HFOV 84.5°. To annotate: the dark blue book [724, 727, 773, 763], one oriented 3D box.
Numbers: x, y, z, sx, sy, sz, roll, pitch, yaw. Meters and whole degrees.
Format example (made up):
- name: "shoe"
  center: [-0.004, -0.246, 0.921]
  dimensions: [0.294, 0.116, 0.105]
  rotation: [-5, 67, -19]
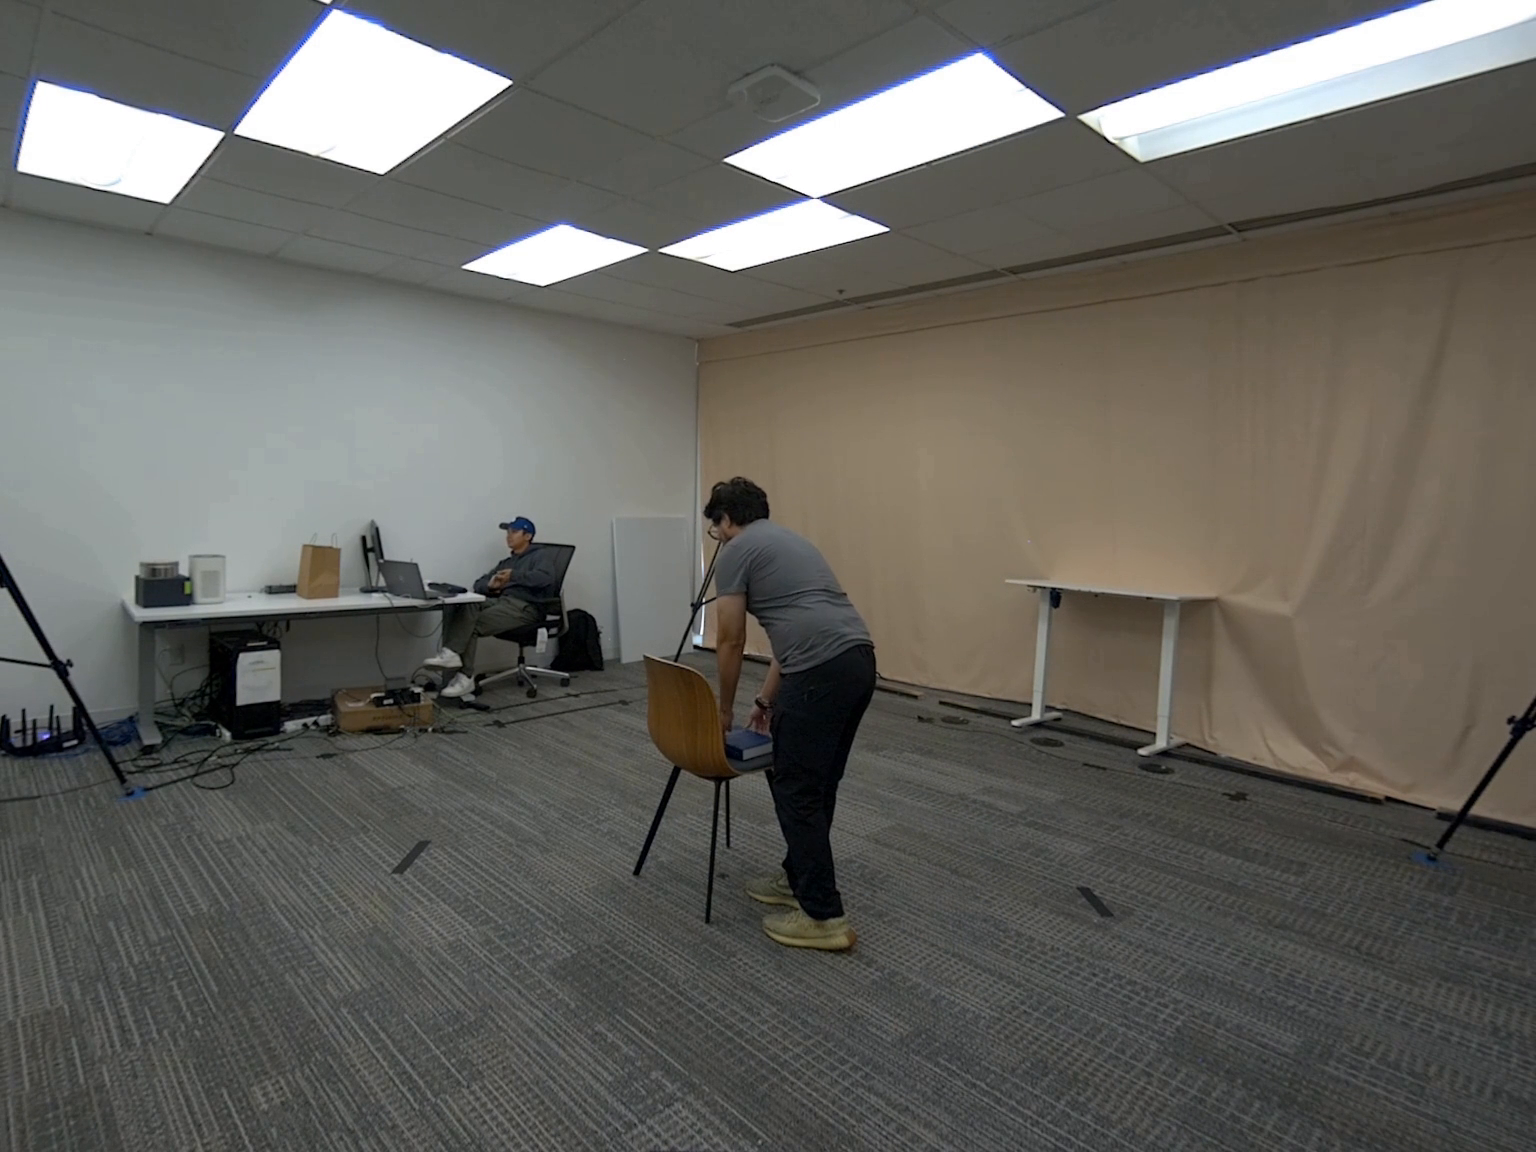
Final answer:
- name: "dark blue book"
  center: [-0.113, 0.600, 3.054]
  dimensions: [0.160, 0.045, 0.251]
  rotation: [-6, 8, -41]
